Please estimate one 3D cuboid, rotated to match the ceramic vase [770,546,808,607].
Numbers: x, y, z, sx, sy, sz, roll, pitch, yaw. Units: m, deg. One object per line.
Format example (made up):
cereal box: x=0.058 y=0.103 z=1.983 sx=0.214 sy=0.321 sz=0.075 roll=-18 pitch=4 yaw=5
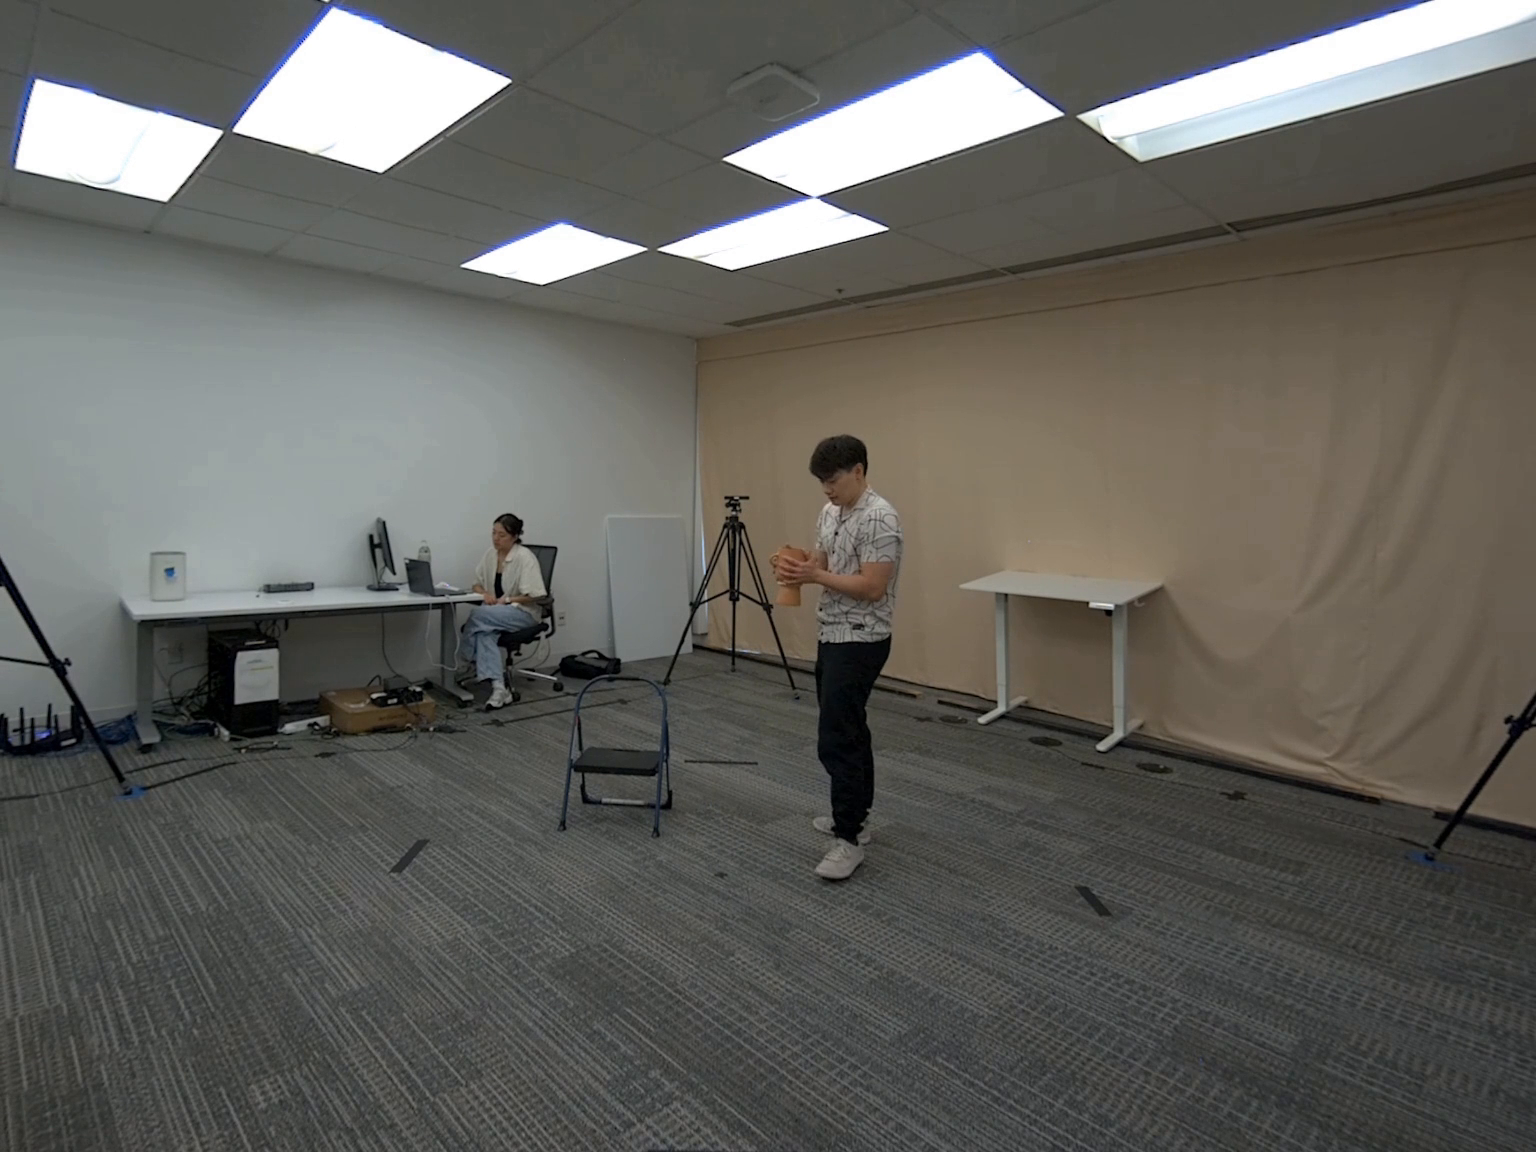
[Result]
ceramic vase: x=0.100 y=0.006 z=3.328 sx=0.162 sy=0.220 sz=0.132 roll=1 pitch=1 yaw=25
